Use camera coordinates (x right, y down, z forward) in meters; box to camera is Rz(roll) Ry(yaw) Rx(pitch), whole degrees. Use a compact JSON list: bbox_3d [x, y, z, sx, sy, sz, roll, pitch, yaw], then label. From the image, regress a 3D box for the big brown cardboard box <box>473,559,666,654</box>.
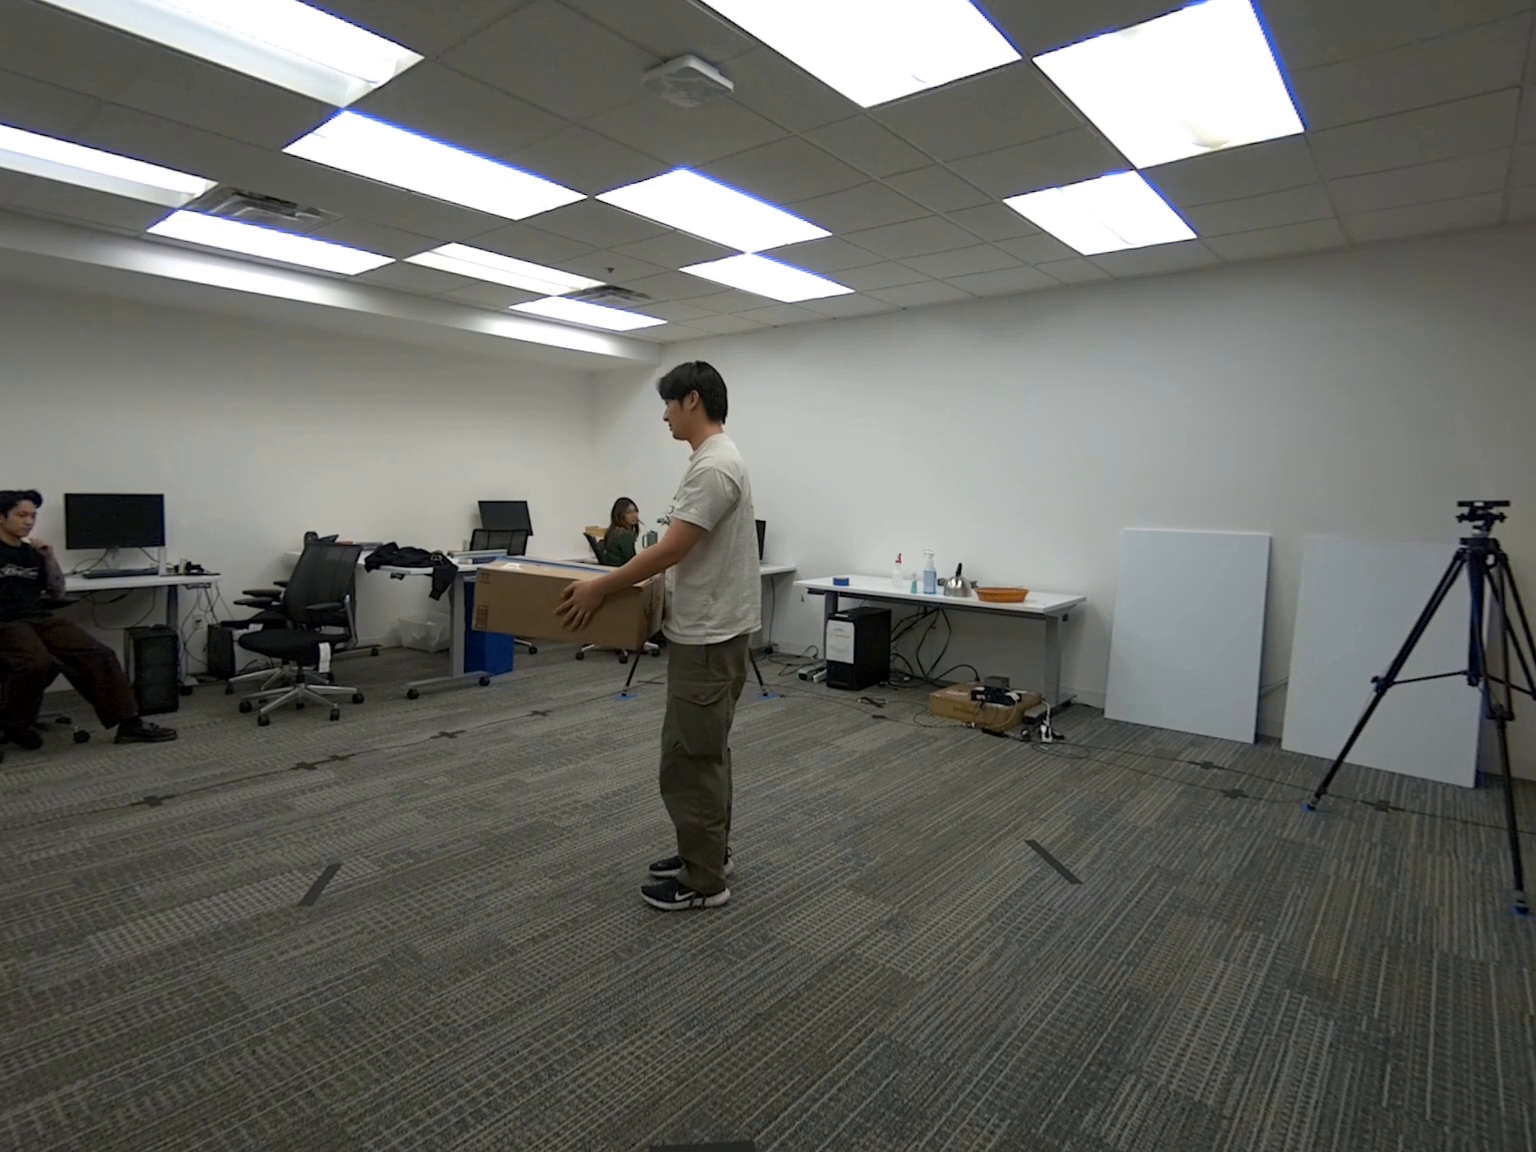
[{"bbox_3d":[-0.699,0.080,2.993,0.592,0.232,0.417,7,7,4],"label":"big brown cardboard box"}]
